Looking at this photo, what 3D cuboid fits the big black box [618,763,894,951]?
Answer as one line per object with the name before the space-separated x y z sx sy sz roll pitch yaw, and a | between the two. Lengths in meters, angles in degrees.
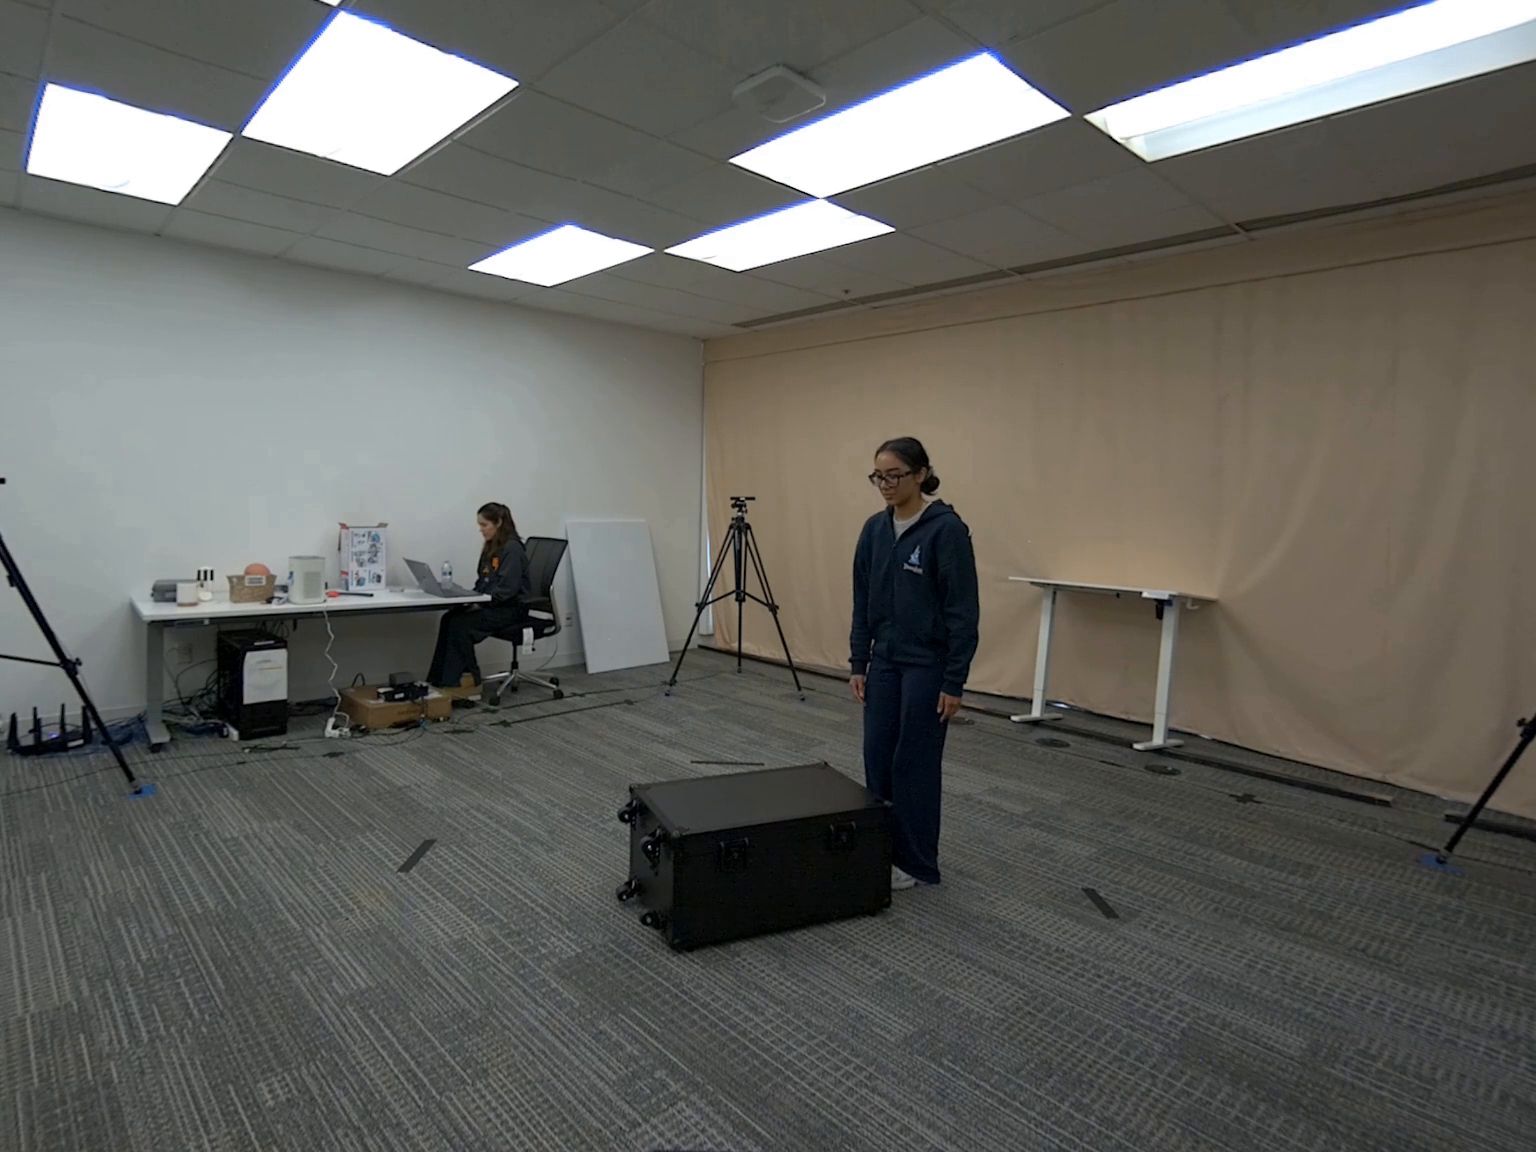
big black box | -0.069 0.957 2.860 0.846 0.520 0.404 0 3 -25
